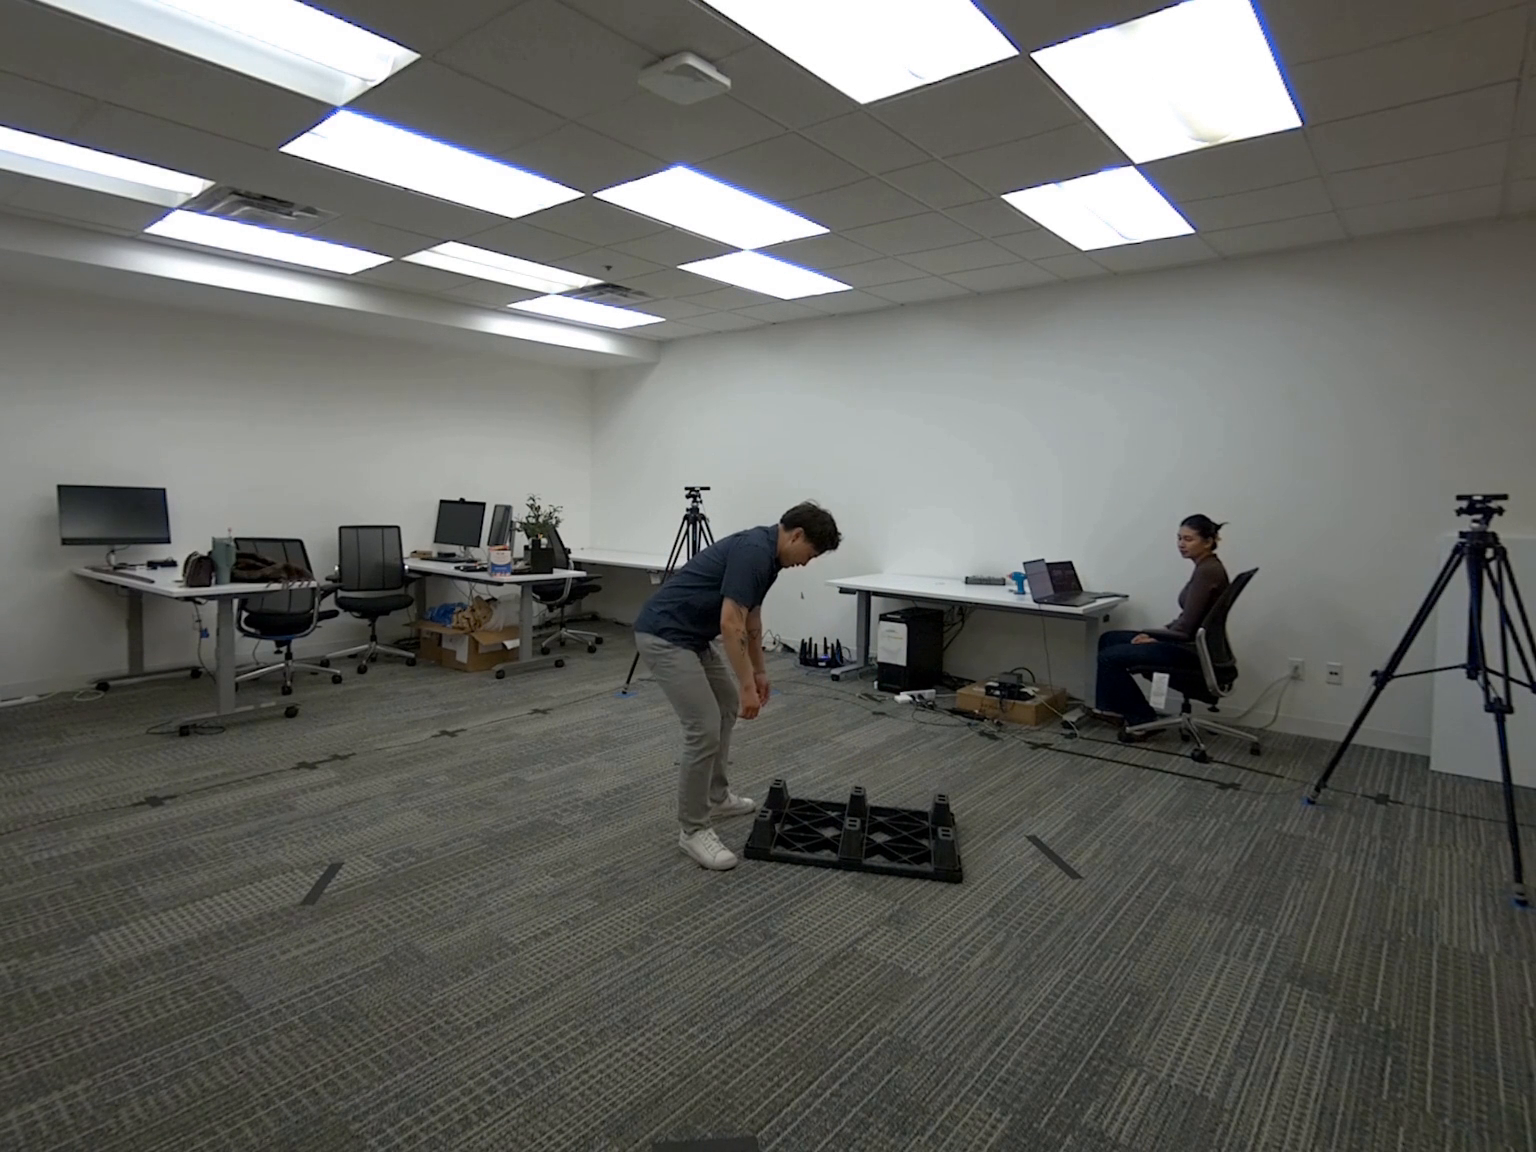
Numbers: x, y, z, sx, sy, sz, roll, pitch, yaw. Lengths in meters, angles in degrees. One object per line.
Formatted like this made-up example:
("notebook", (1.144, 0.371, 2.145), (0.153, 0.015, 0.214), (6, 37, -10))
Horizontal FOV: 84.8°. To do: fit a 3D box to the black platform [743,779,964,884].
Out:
("black platform", (0.342, 0.982, 3.397), (0.816, 0.143, 0.600), (2, 6, 11))
